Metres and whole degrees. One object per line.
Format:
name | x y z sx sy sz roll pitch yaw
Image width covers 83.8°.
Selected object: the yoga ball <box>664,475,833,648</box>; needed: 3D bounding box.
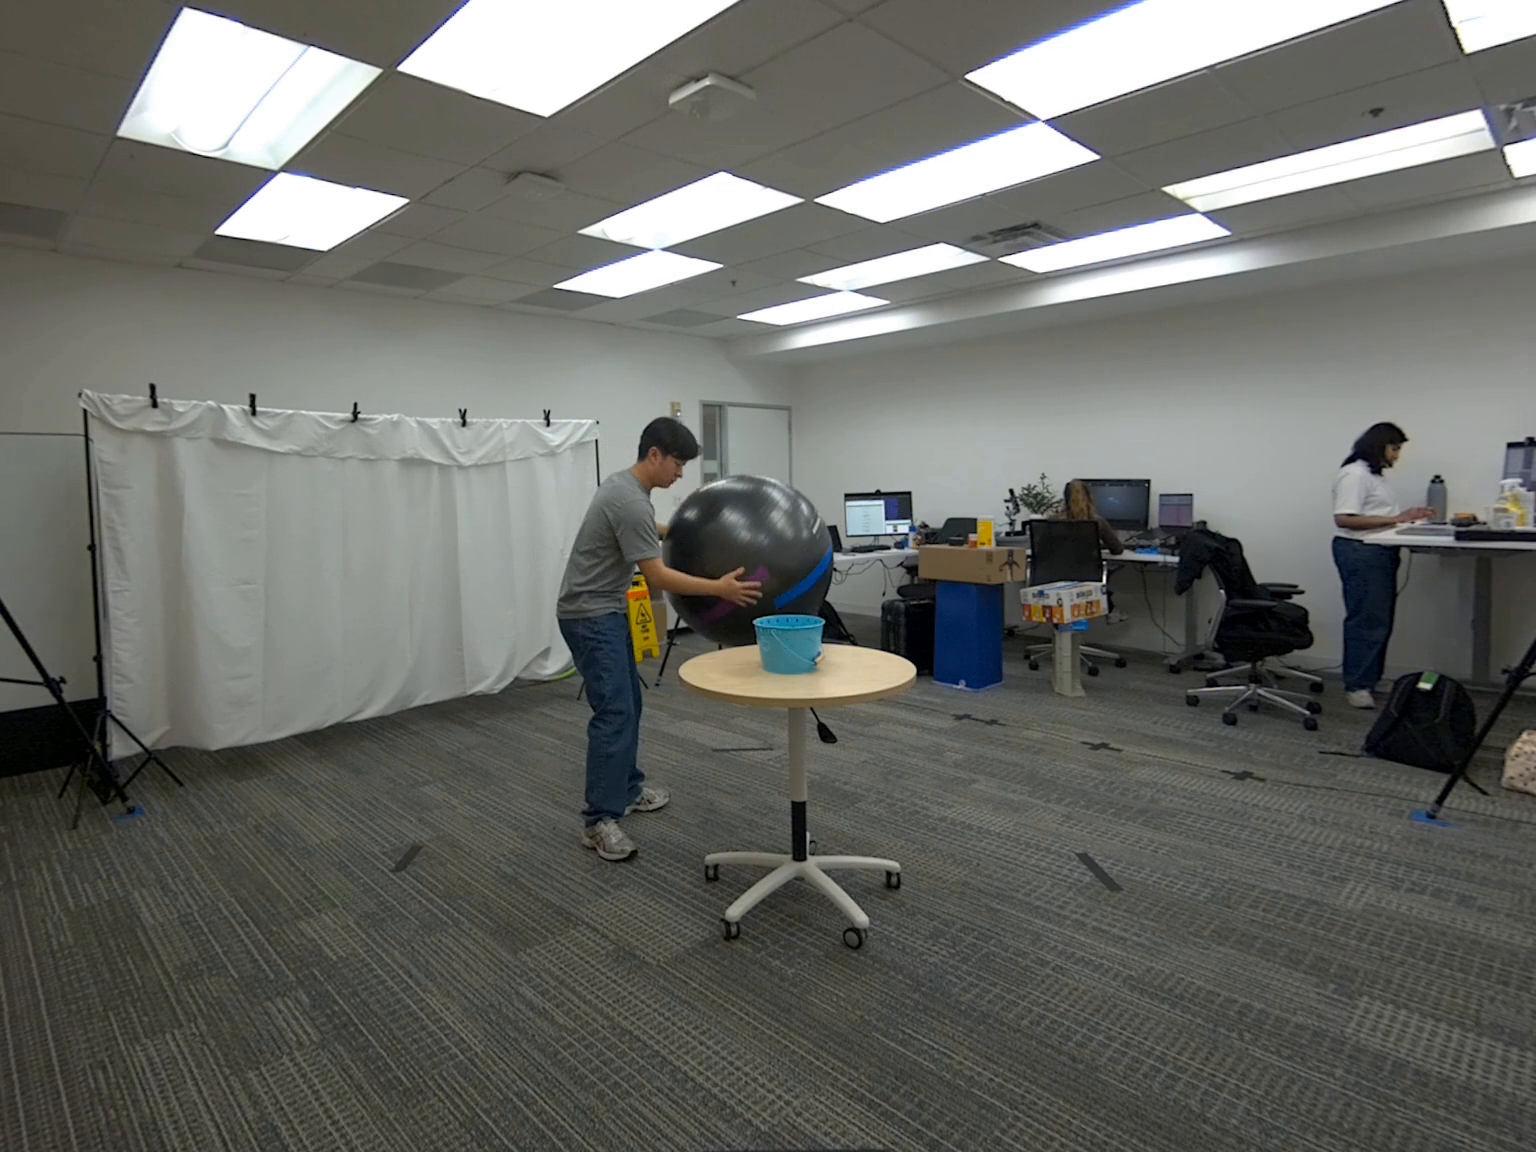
yoga ball | -0.086 -0.056 3.727 0.757 0.755 0.762 -1 5 -2
